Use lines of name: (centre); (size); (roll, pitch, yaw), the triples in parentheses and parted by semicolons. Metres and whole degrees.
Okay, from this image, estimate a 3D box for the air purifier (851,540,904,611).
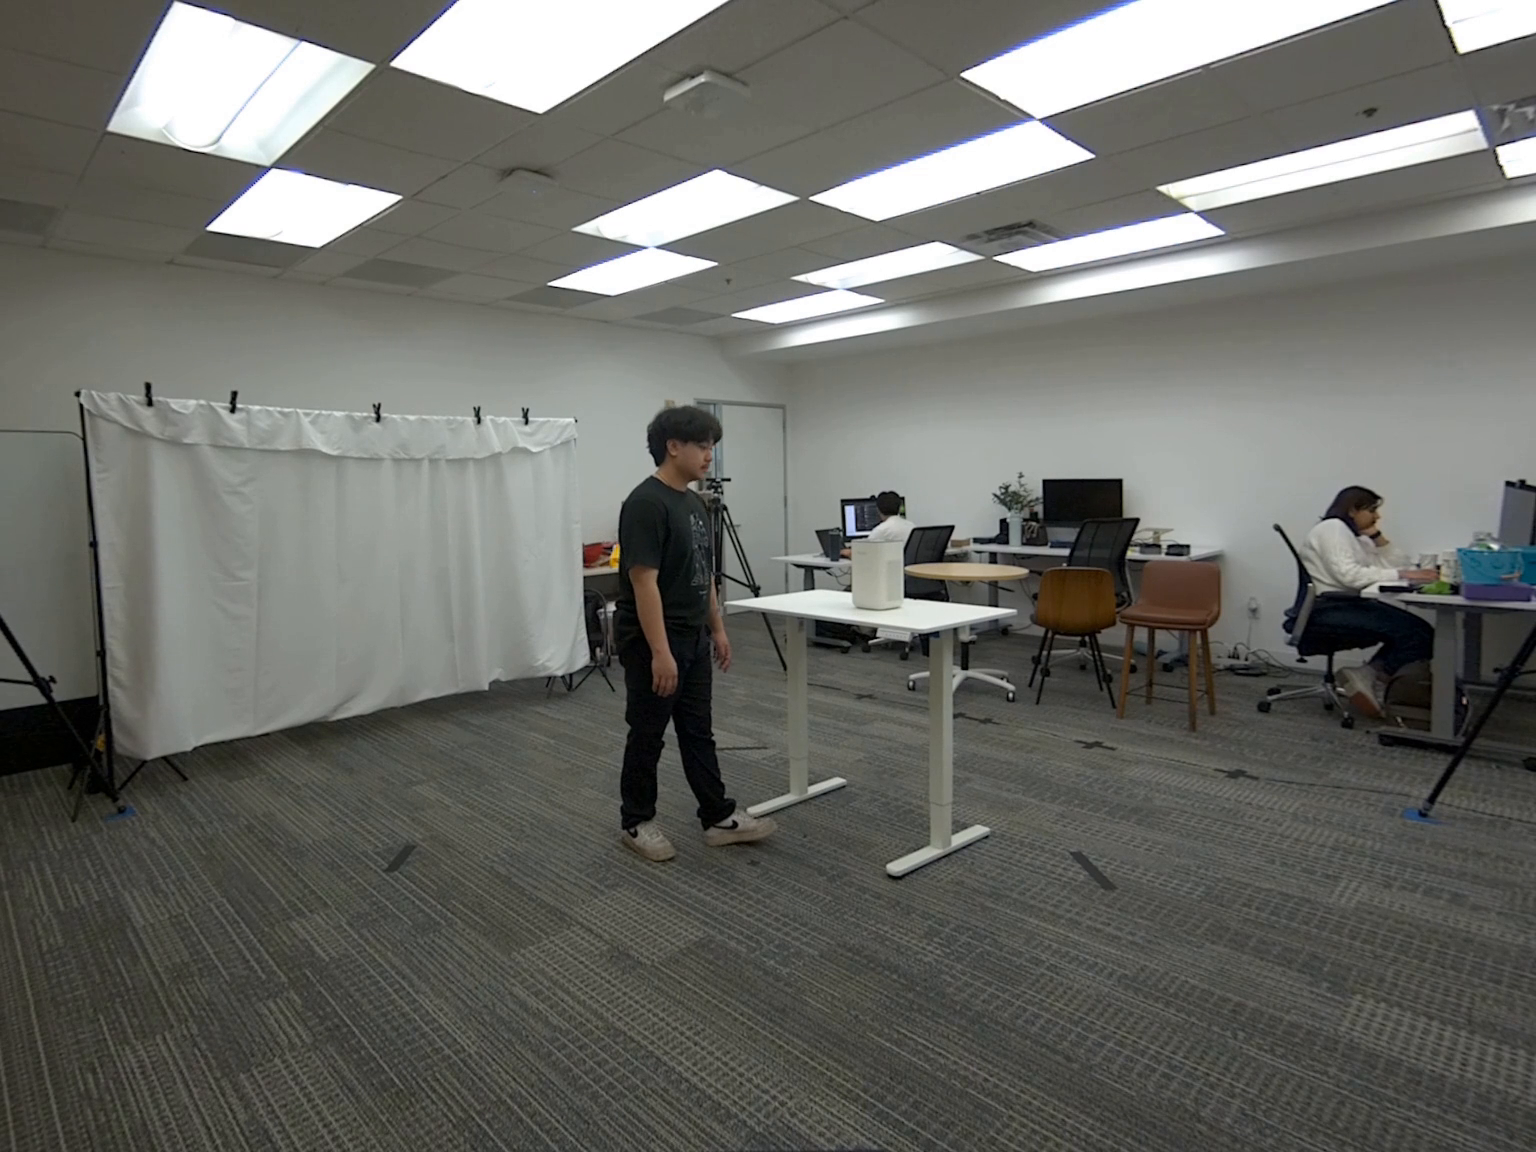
air purifier: (0.426, -0.006, 3.329); (0.167, 0.264, 0.176); (-4, 5, -41)
